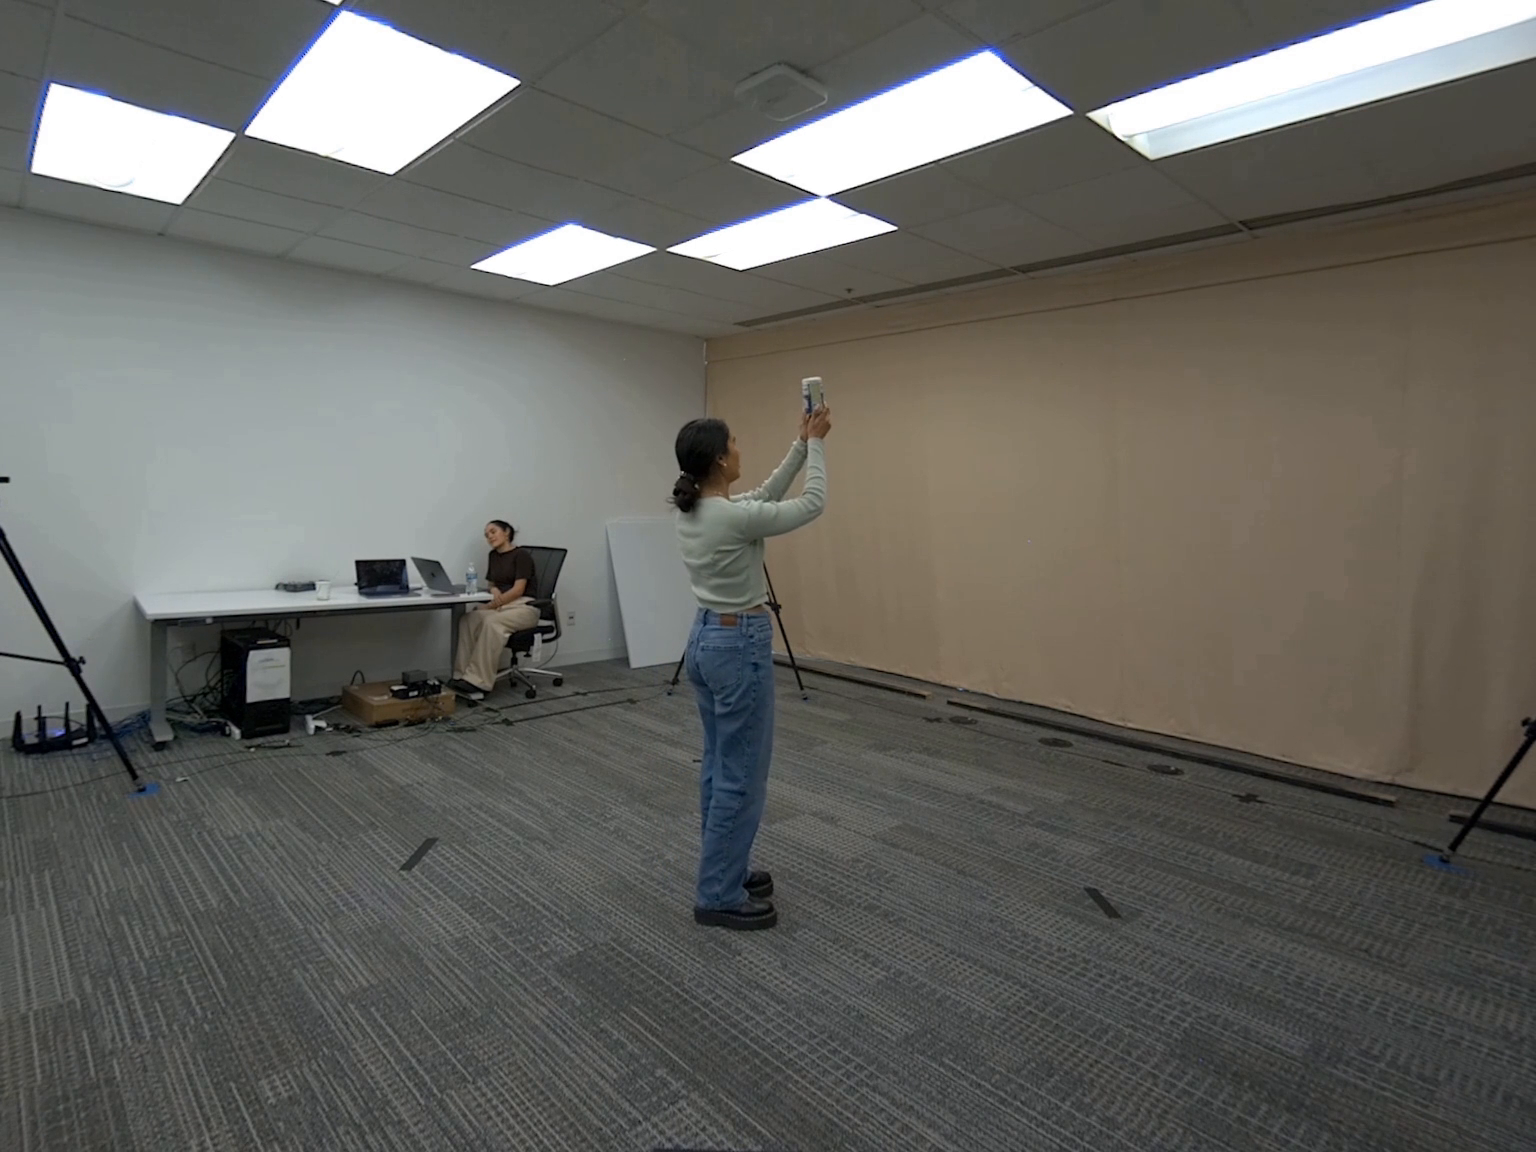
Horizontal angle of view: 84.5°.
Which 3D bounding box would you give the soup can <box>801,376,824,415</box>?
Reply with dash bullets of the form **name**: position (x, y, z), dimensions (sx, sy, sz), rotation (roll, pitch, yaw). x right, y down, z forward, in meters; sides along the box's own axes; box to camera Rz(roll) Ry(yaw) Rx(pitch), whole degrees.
- **soup can**: position (0.155, -0.613, 2.873), dimensions (0.067, 0.121, 0.067), rotation (-6, 9, 0)
